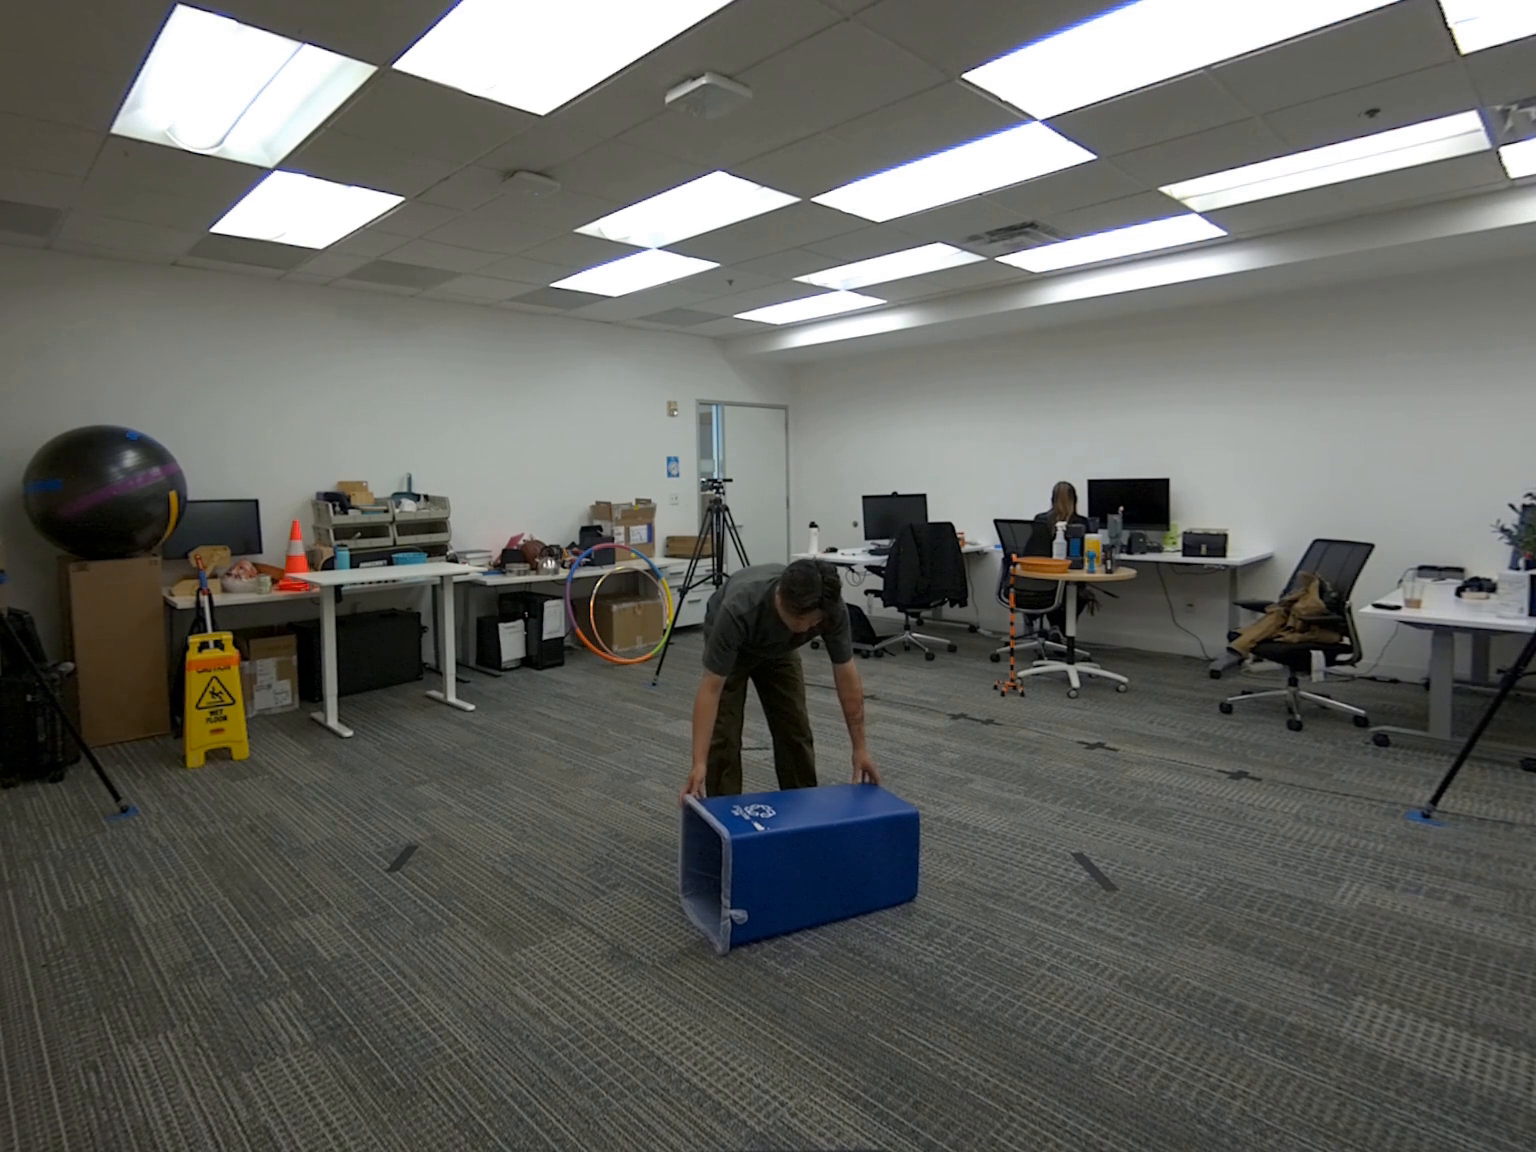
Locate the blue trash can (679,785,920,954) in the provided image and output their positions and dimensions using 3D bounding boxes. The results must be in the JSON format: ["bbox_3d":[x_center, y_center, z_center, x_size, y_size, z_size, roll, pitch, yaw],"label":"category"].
[{"bbox_3d":[0.113,0.915,2.791,0.698,0.373,0.387,-1,4,-24],"label":"blue trash can"}]
